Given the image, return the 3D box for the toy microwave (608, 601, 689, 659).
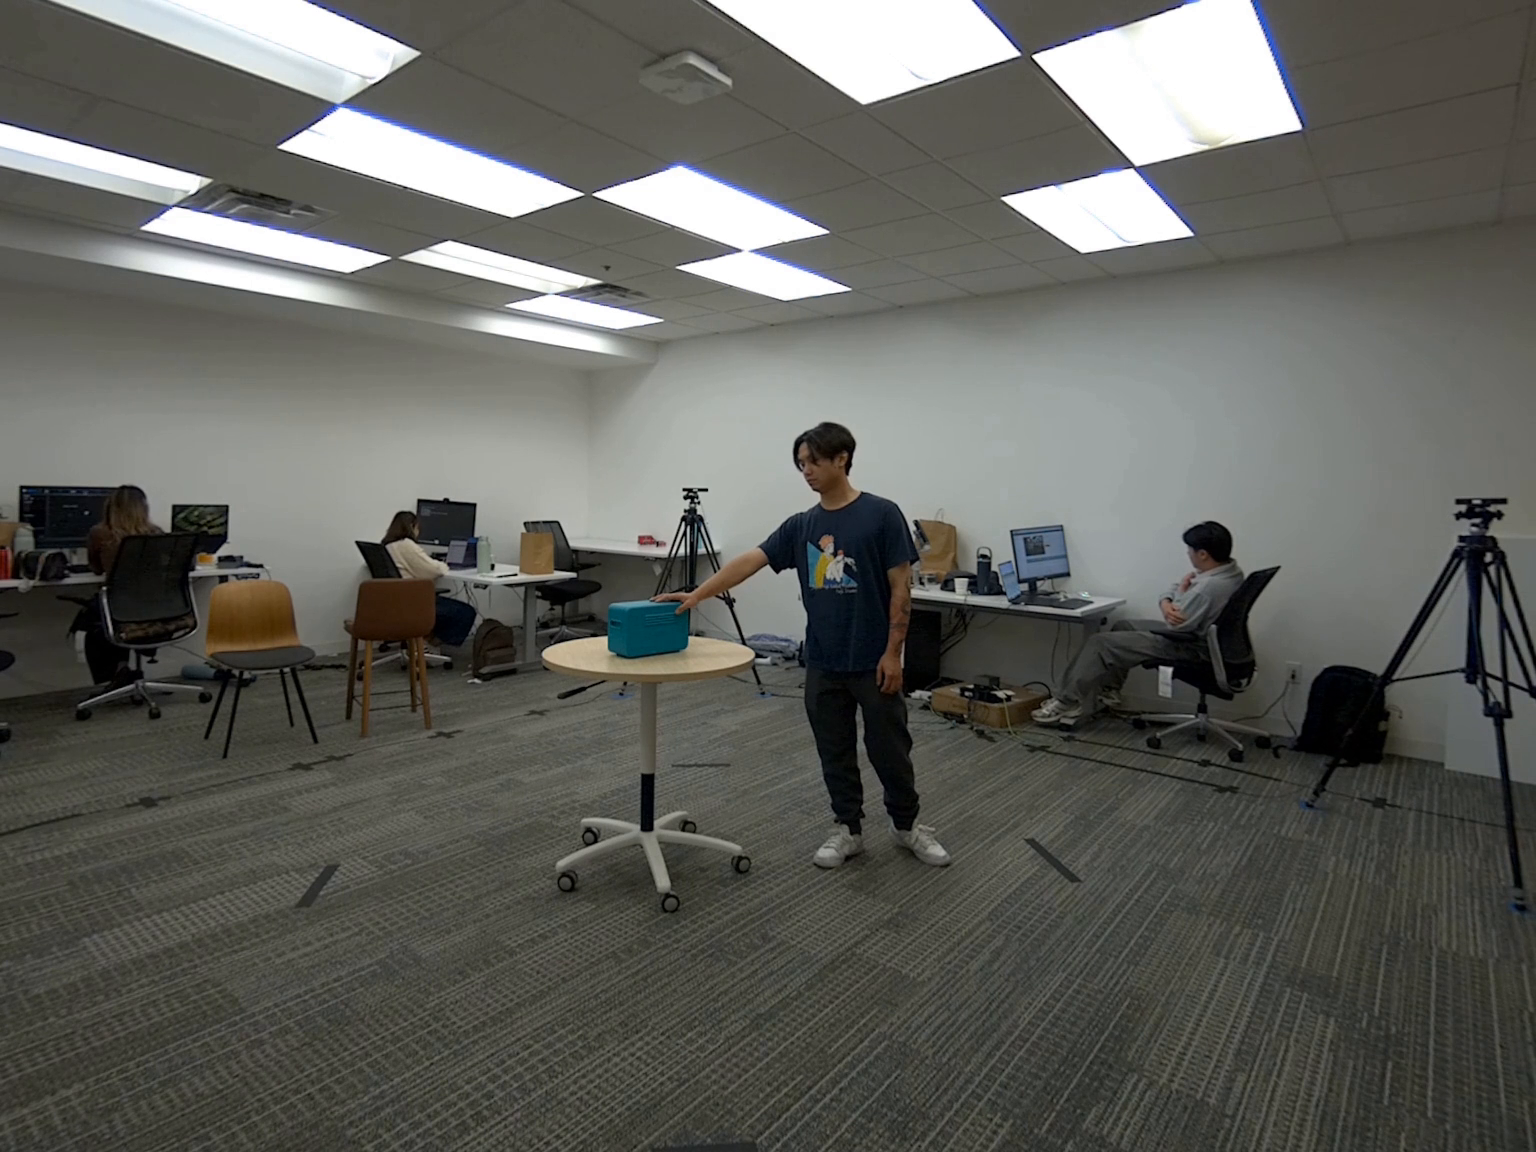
[{"bbox_3d":[-0.449,0.183,3.072,0.277,0.184,0.157,-2,5,-42],"label":"toy microwave"}]
